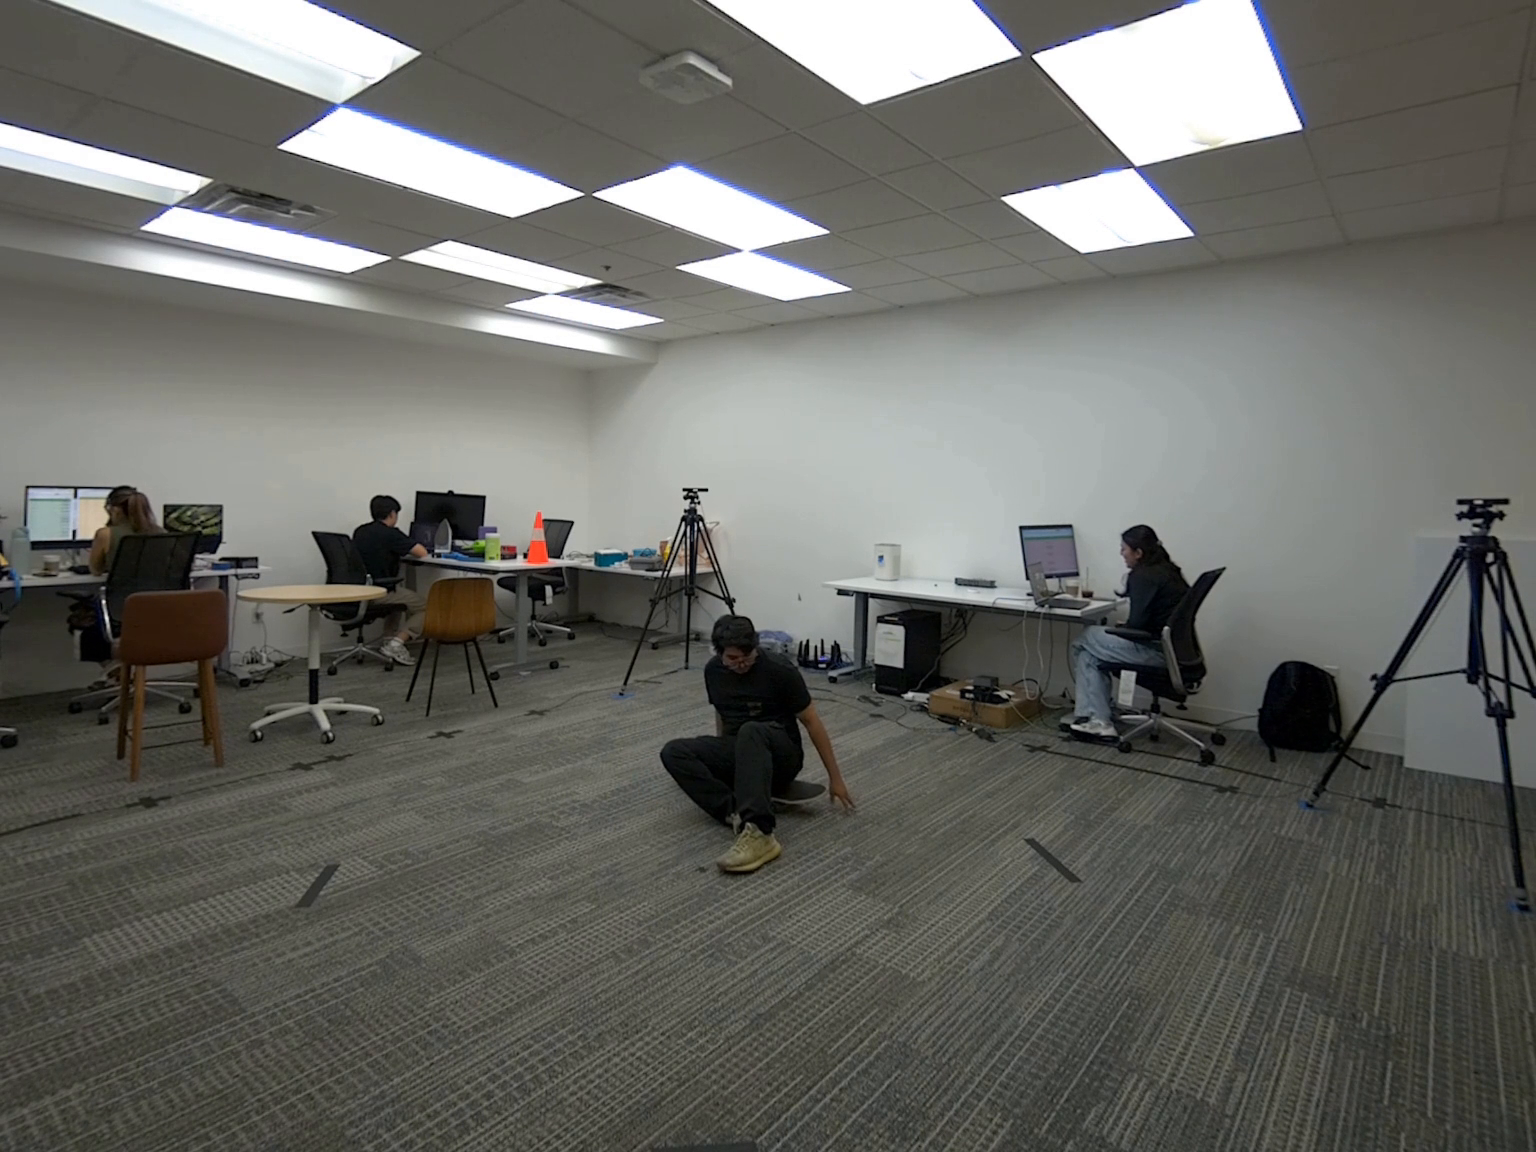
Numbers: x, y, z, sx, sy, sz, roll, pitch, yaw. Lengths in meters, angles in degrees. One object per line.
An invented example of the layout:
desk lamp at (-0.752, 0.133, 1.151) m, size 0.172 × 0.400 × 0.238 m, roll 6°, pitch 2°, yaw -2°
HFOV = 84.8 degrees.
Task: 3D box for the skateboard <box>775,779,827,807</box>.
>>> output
skateboard at (-0.108, 0.938, 3.840) m, size 0.810 × 0.109 × 0.190 m, roll 5°, pitch 15°, yaw 33°
